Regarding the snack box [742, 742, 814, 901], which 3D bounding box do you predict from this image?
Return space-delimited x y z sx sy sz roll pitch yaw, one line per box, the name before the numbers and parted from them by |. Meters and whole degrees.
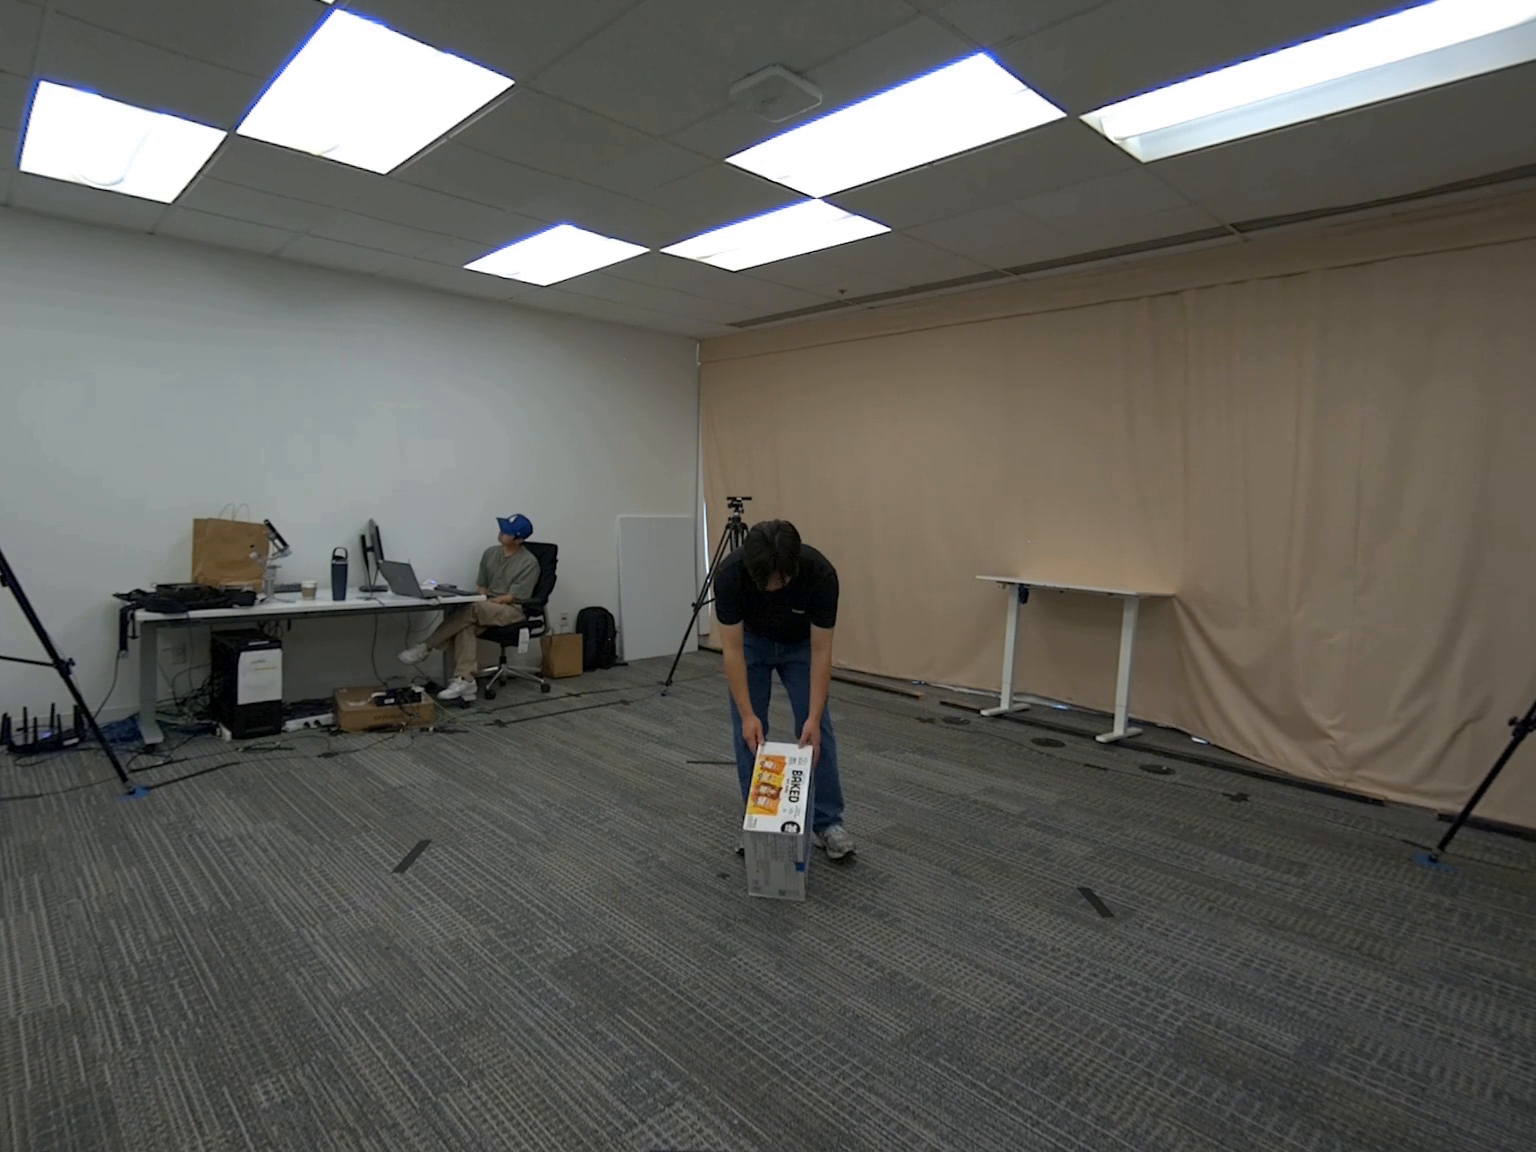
snack box | 0.043 0.875 3.013 0.207 0.333 0.410 1 32 8
